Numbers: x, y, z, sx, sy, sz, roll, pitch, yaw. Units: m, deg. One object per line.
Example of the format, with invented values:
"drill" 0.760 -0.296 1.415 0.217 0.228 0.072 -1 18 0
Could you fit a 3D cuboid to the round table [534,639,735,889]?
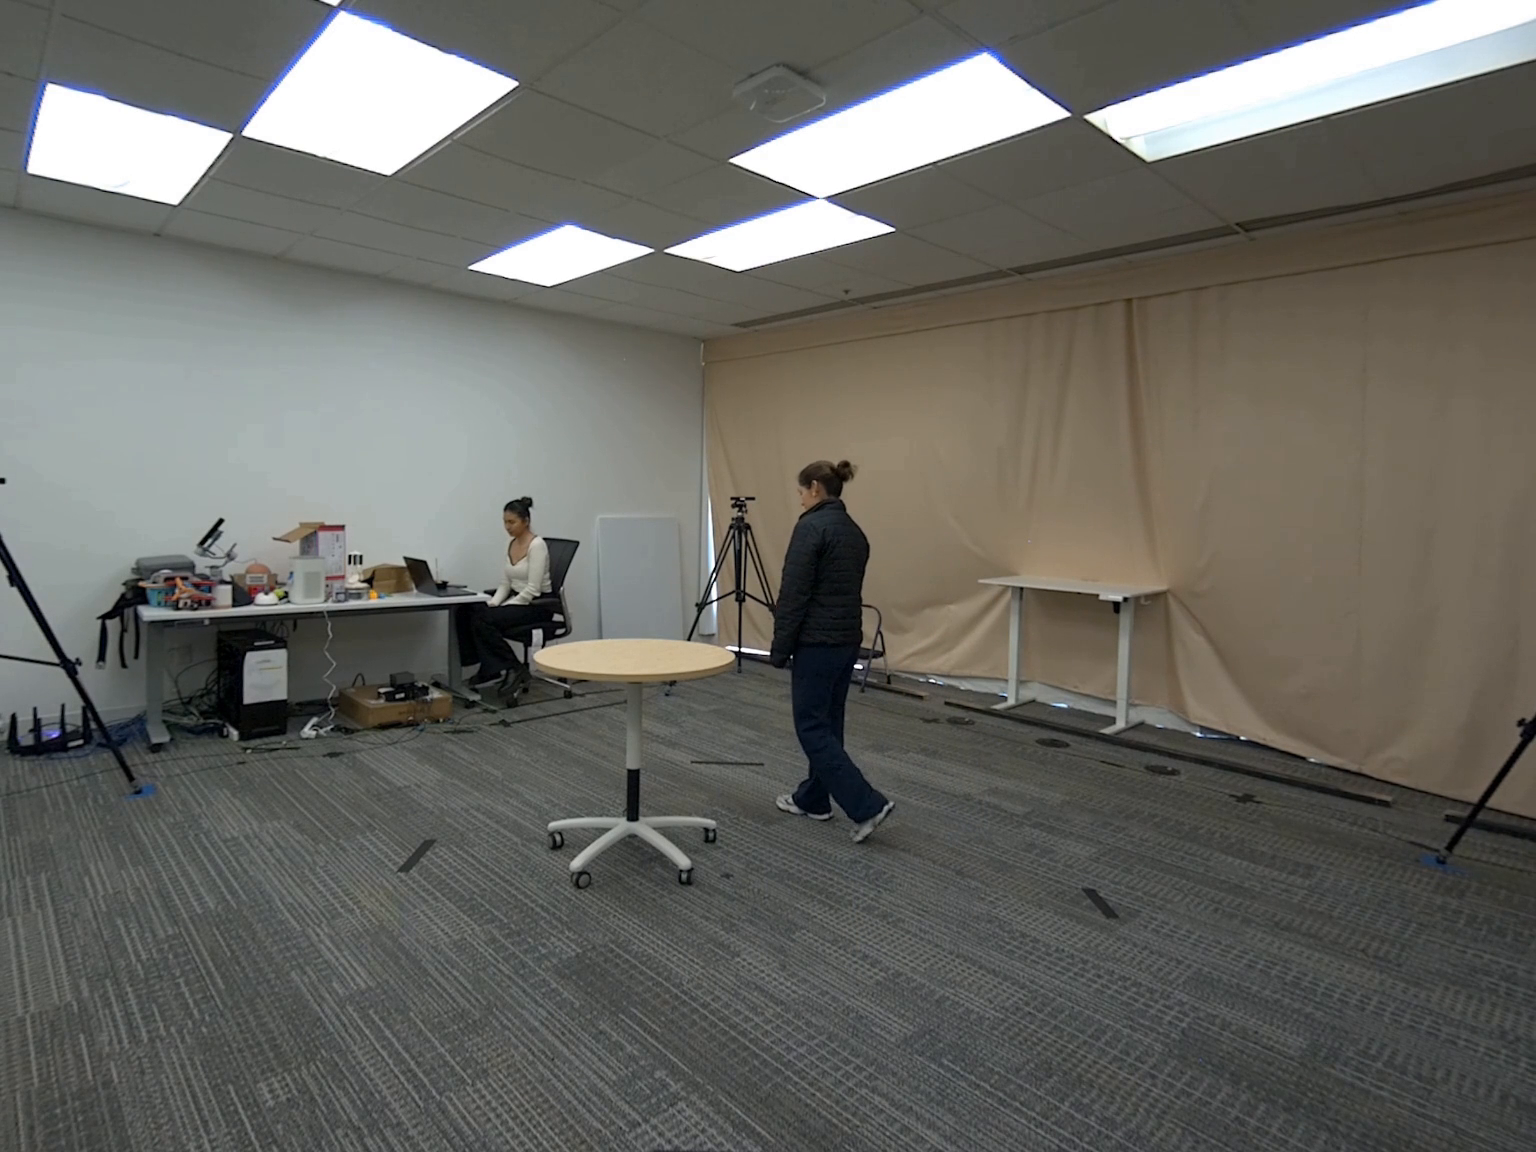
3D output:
"round table" -0.513 0.693 3.215 0.784 0.785 0.787 1 3 -1
